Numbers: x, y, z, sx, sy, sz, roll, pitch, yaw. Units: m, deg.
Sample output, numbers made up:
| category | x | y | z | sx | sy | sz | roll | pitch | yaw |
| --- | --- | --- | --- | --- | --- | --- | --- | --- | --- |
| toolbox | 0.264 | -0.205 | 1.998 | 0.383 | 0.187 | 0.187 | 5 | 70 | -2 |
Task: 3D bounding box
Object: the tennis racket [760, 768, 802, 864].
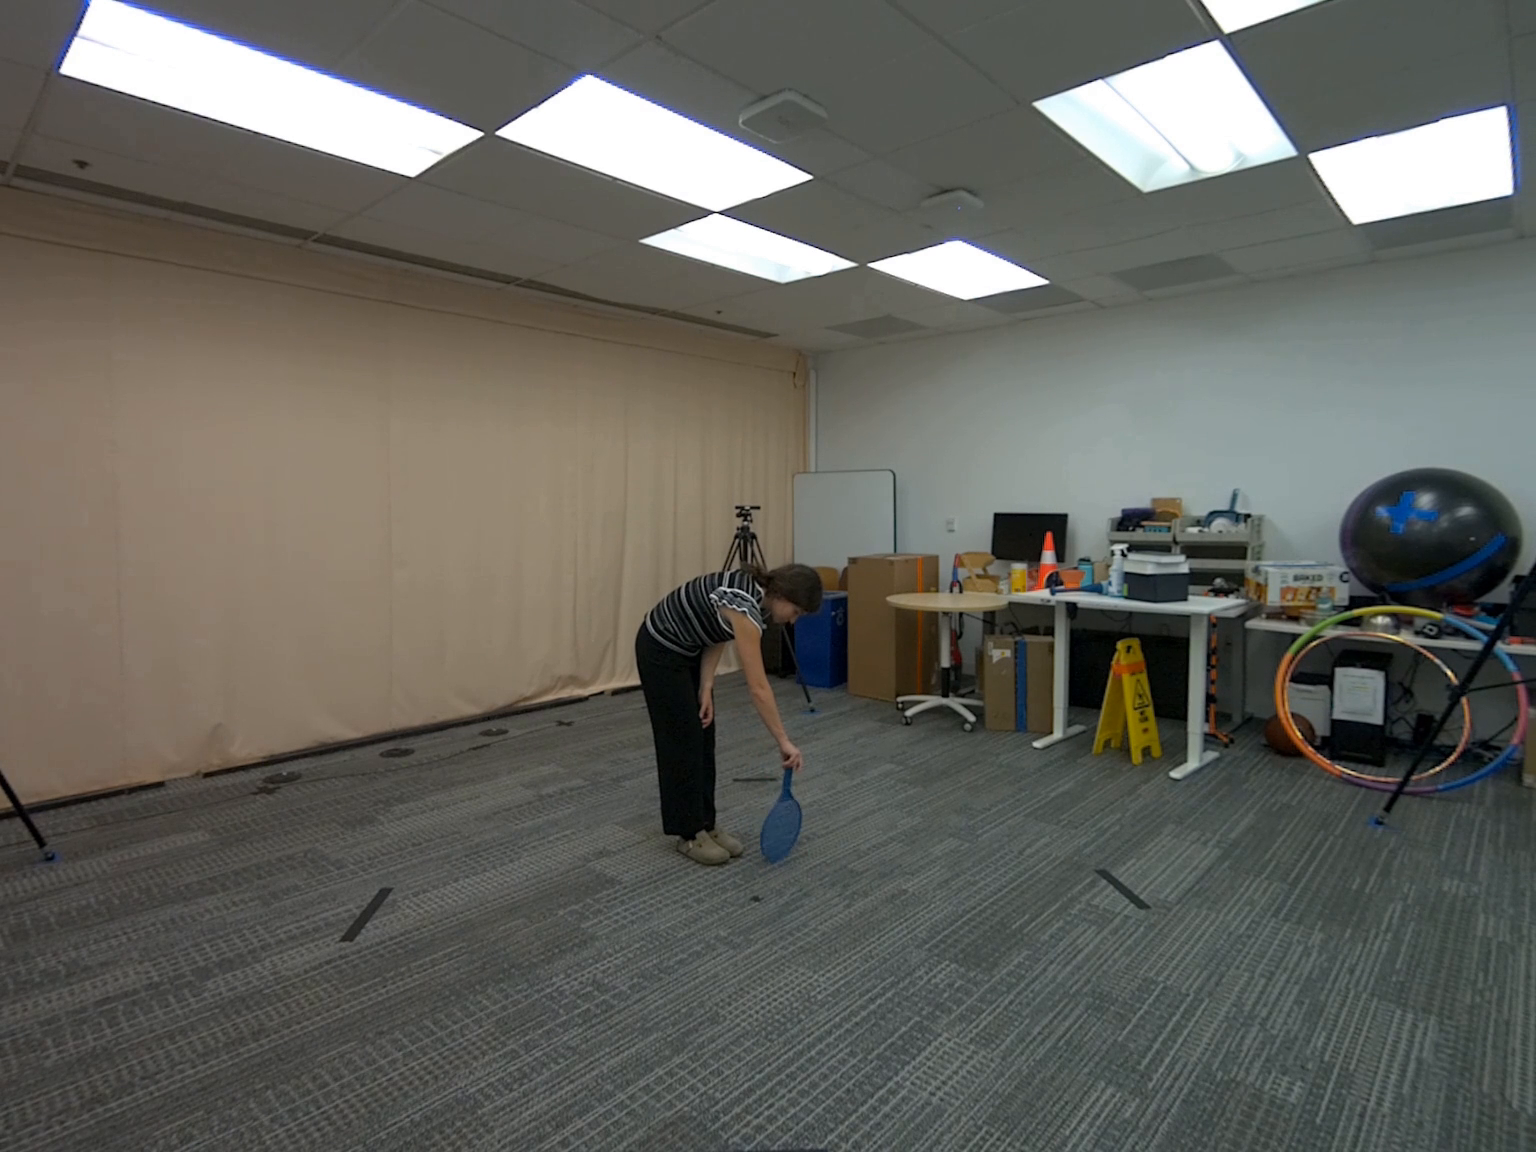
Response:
| category | x | y | z | sx | sy | sz | roll | pitch | yaw |
| --- | --- | --- | --- | --- | --- | --- | --- | --- | --- |
| tennis racket | 0.057 | 0.909 | 3.269 | 0.032 | 0.430 | 0.211 | 10 | 14 | 17 |
